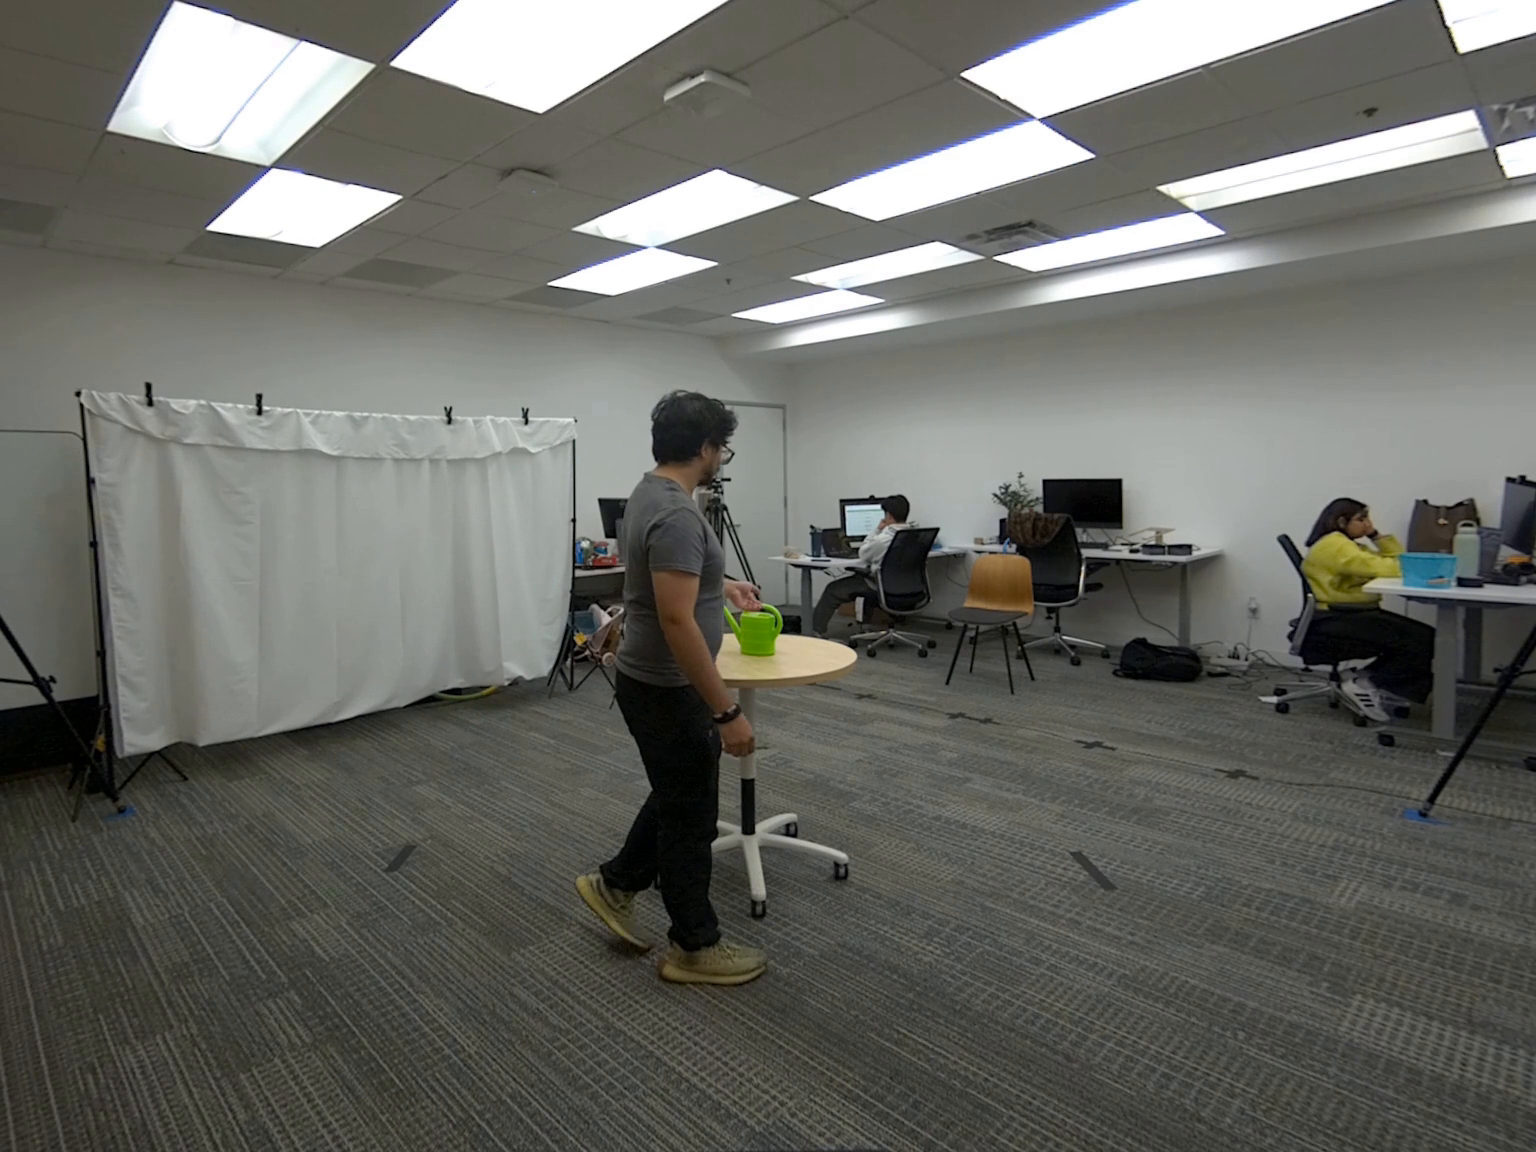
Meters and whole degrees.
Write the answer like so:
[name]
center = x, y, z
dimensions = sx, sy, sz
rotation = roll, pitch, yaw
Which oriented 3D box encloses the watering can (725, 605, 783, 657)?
[watering can]
center = -0.059, 0.182, 3.022
dimensions = 0.287, 0.176, 0.095
rotation = 6, 7, 44
